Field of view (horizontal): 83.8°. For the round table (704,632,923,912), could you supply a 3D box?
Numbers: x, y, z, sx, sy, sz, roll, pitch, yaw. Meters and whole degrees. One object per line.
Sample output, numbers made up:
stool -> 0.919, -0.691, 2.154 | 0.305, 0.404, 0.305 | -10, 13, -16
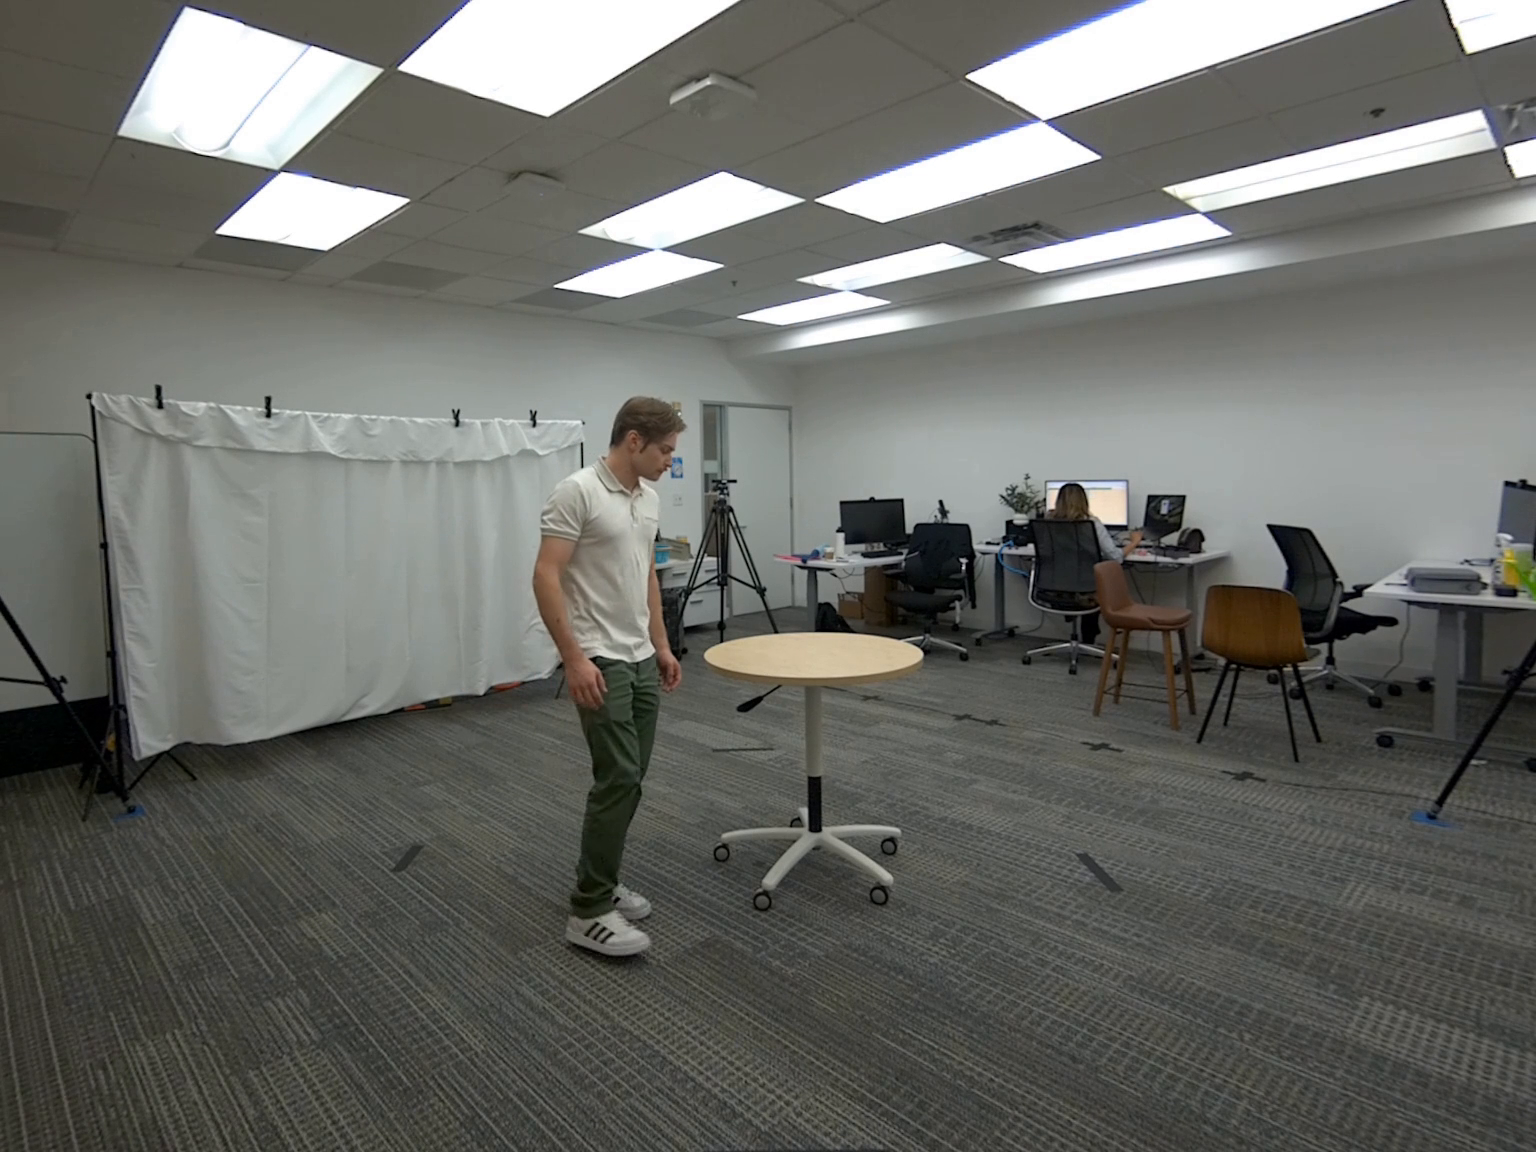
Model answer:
round table -> 0.165, 0.662, 3.046 | 0.763, 0.791, 0.768 | -1, 5, -2
